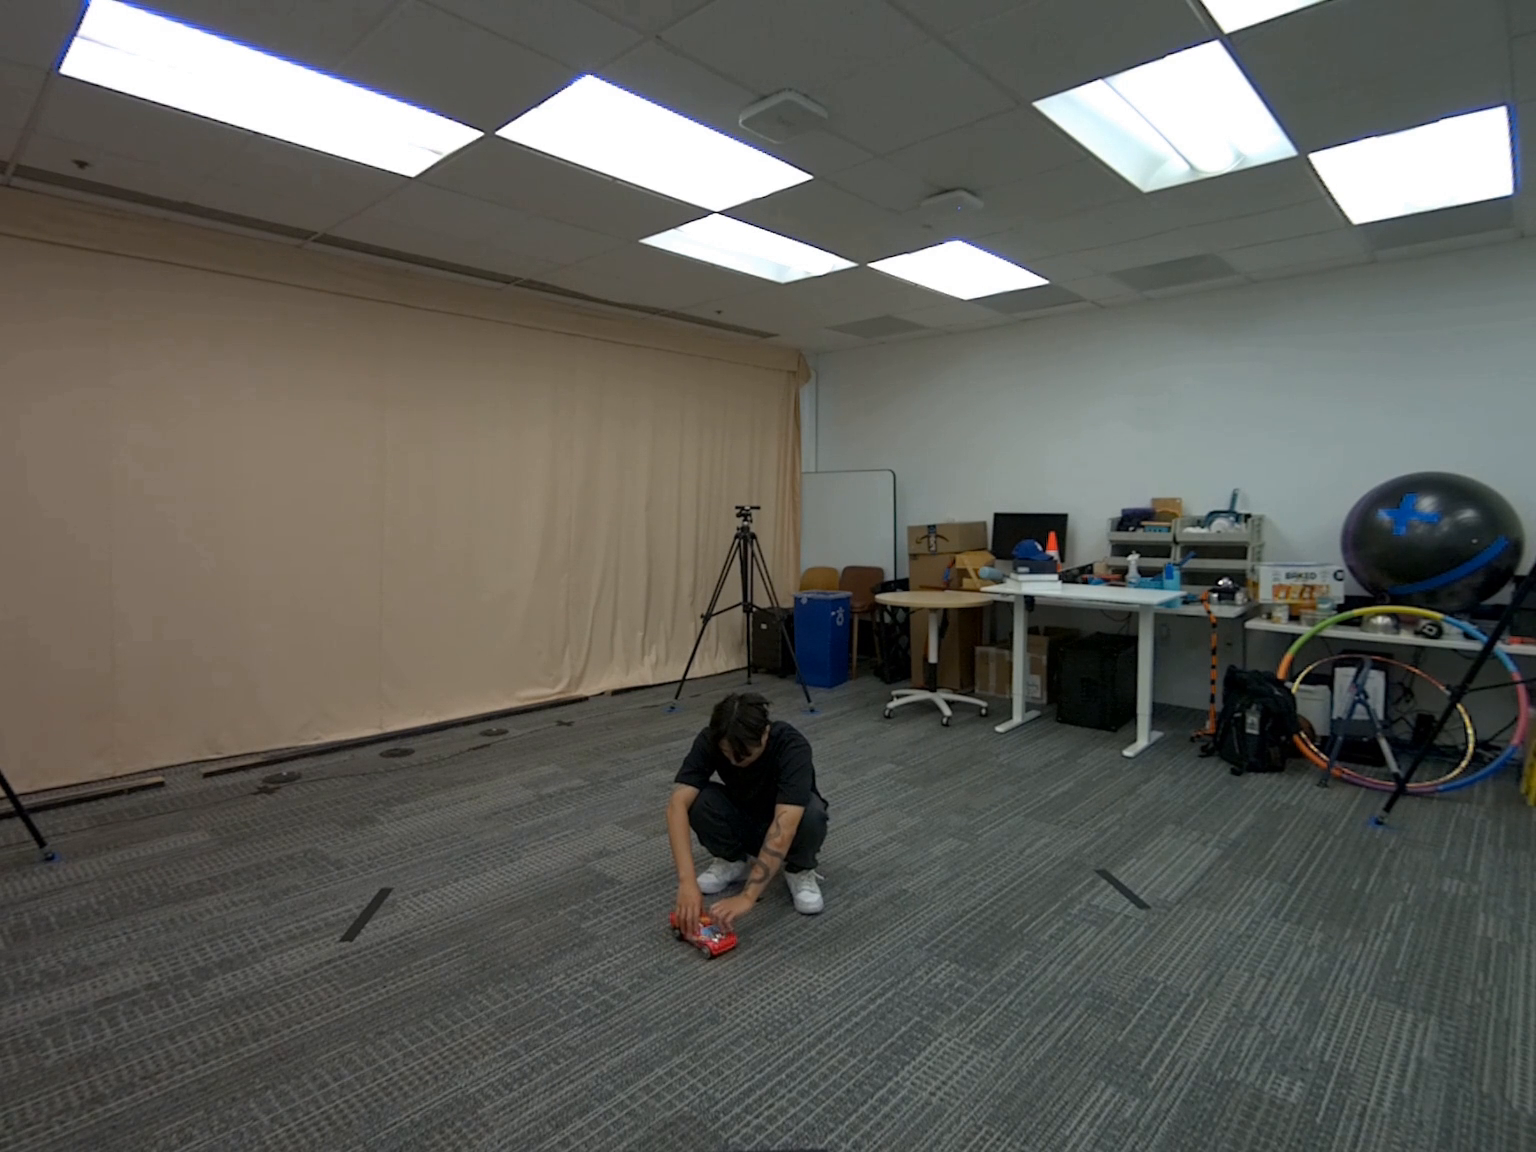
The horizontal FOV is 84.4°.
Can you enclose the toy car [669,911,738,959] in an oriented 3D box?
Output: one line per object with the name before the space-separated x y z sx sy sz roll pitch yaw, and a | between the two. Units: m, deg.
toy car | -0.216 1.136 2.695 0.126 0.083 0.264 -4 16 -41
